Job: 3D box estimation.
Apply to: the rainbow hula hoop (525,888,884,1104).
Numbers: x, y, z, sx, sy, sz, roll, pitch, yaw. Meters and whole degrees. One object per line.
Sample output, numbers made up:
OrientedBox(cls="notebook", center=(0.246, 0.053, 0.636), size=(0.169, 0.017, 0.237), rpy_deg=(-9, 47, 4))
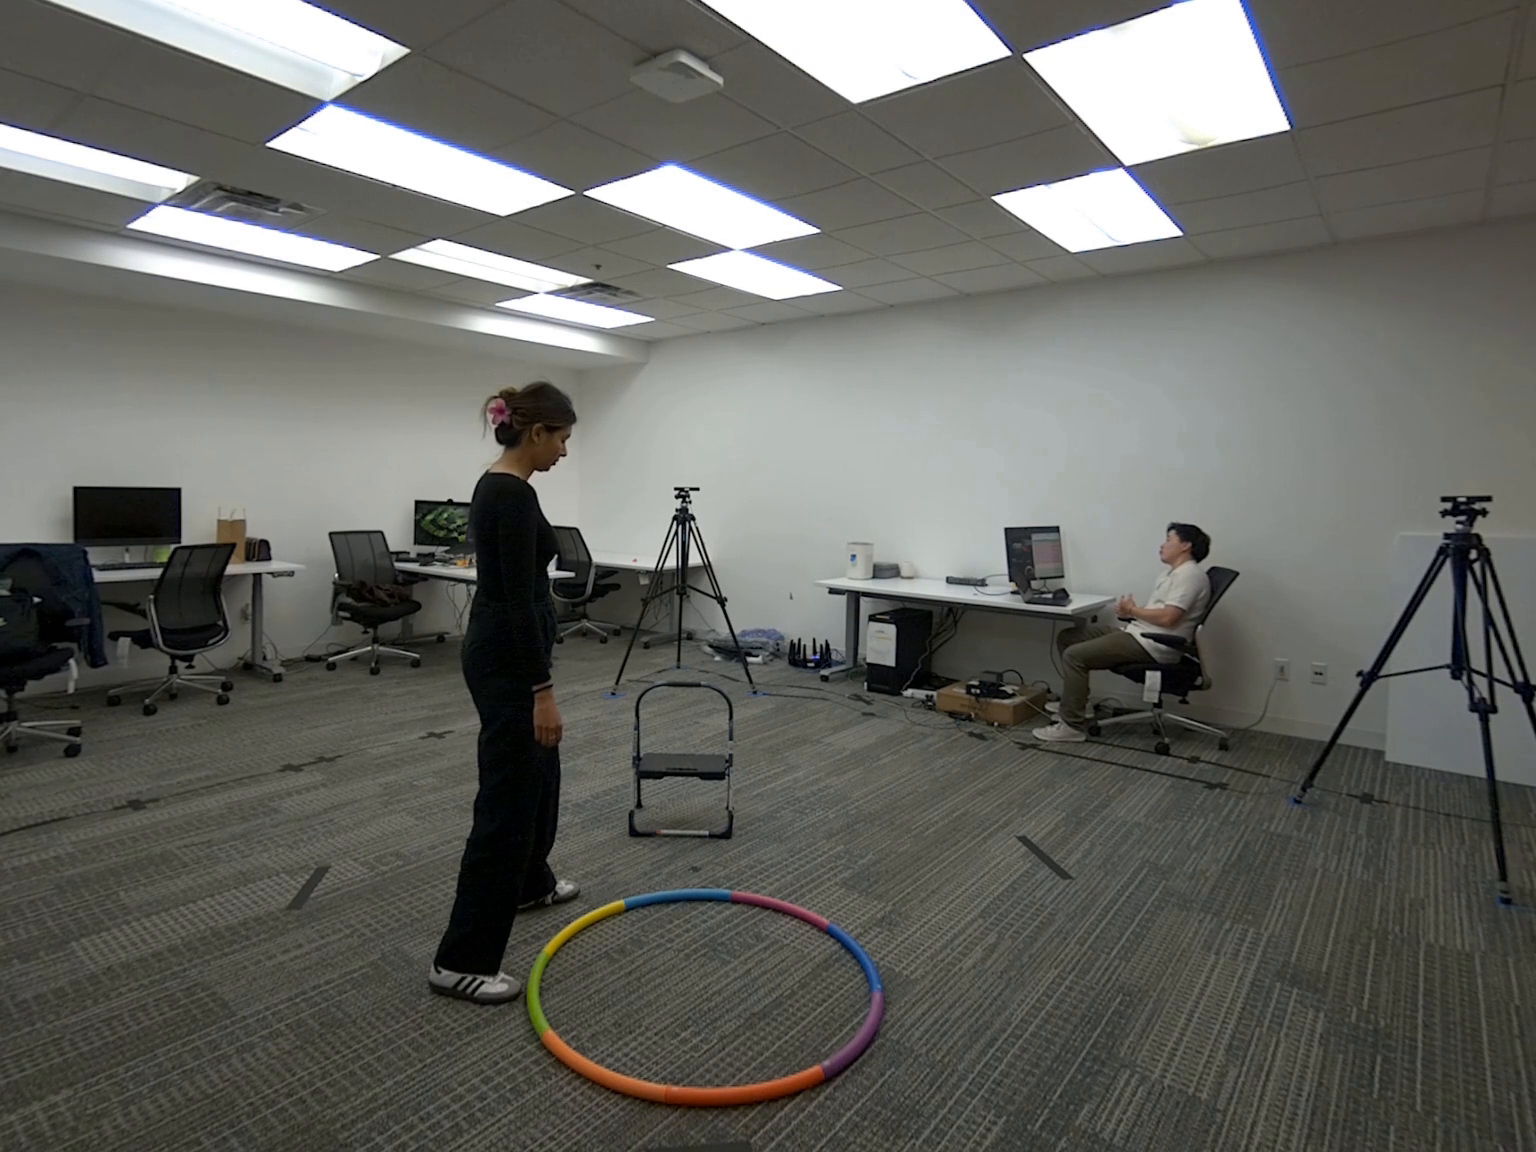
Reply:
OrientedBox(cls="rainbow hula hoop", center=(-0.182, 1.105, 2.403), size=(0.978, 0.035, 0.984), rpy_deg=(1, 6, -2))
